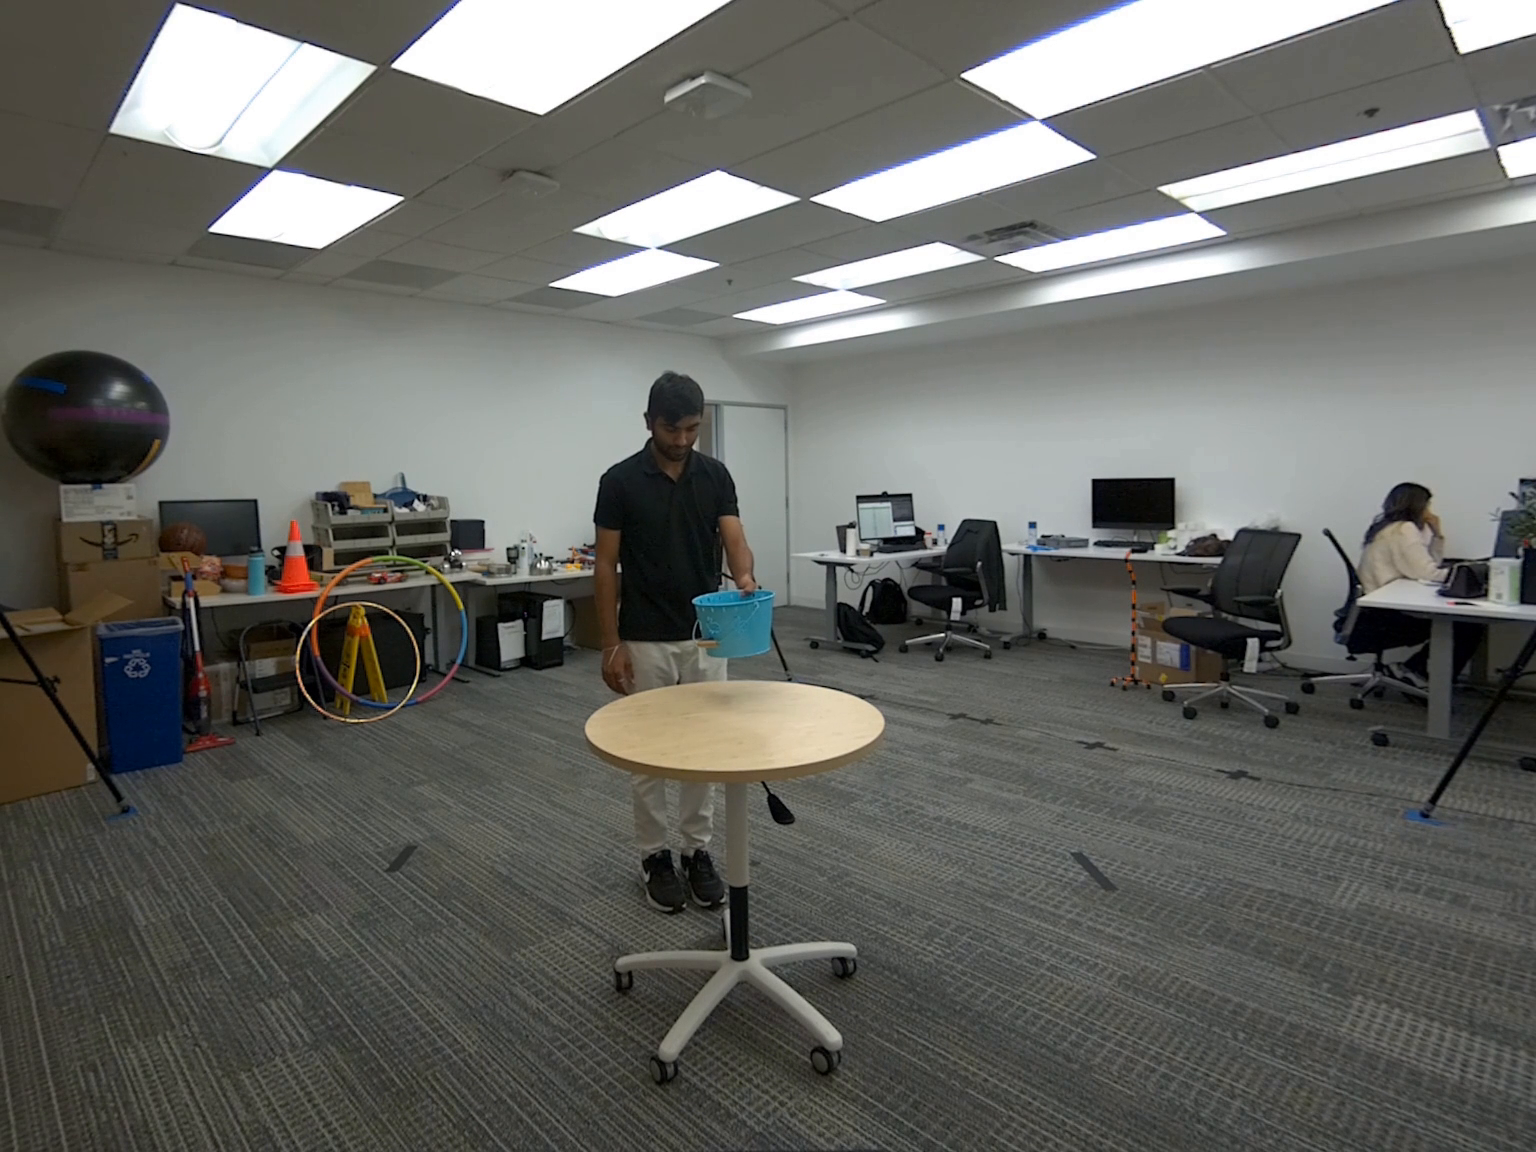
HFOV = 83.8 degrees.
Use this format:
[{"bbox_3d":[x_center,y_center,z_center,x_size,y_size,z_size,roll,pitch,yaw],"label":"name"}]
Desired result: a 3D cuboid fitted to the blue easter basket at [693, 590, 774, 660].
[{"bbox_3d":[-0.104,0.138,2.384,0.243,0.155,0.245,-2,7,-1],"label":"blue easter basket"}]
